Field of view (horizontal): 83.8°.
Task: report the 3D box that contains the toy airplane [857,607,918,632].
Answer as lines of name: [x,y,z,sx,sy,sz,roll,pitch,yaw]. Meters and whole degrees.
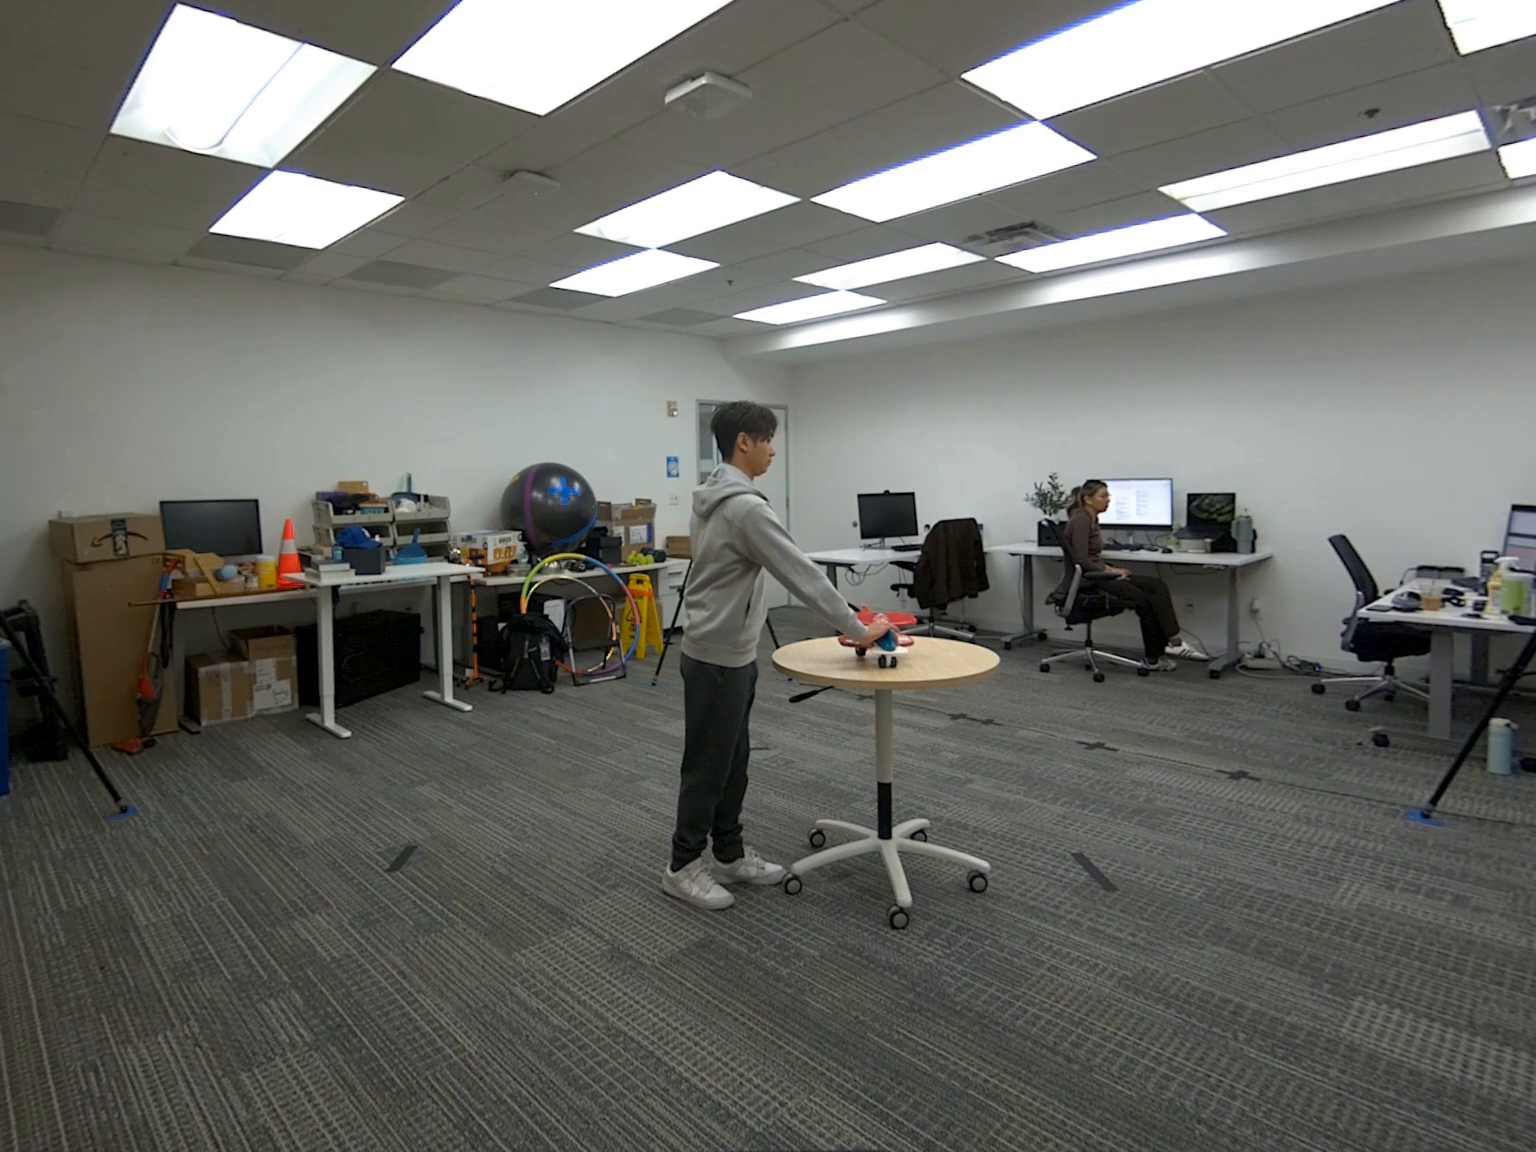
toy airplane: [0.393,0.207,2.829,0.245,0.156,0.267,-2,5,-33]
